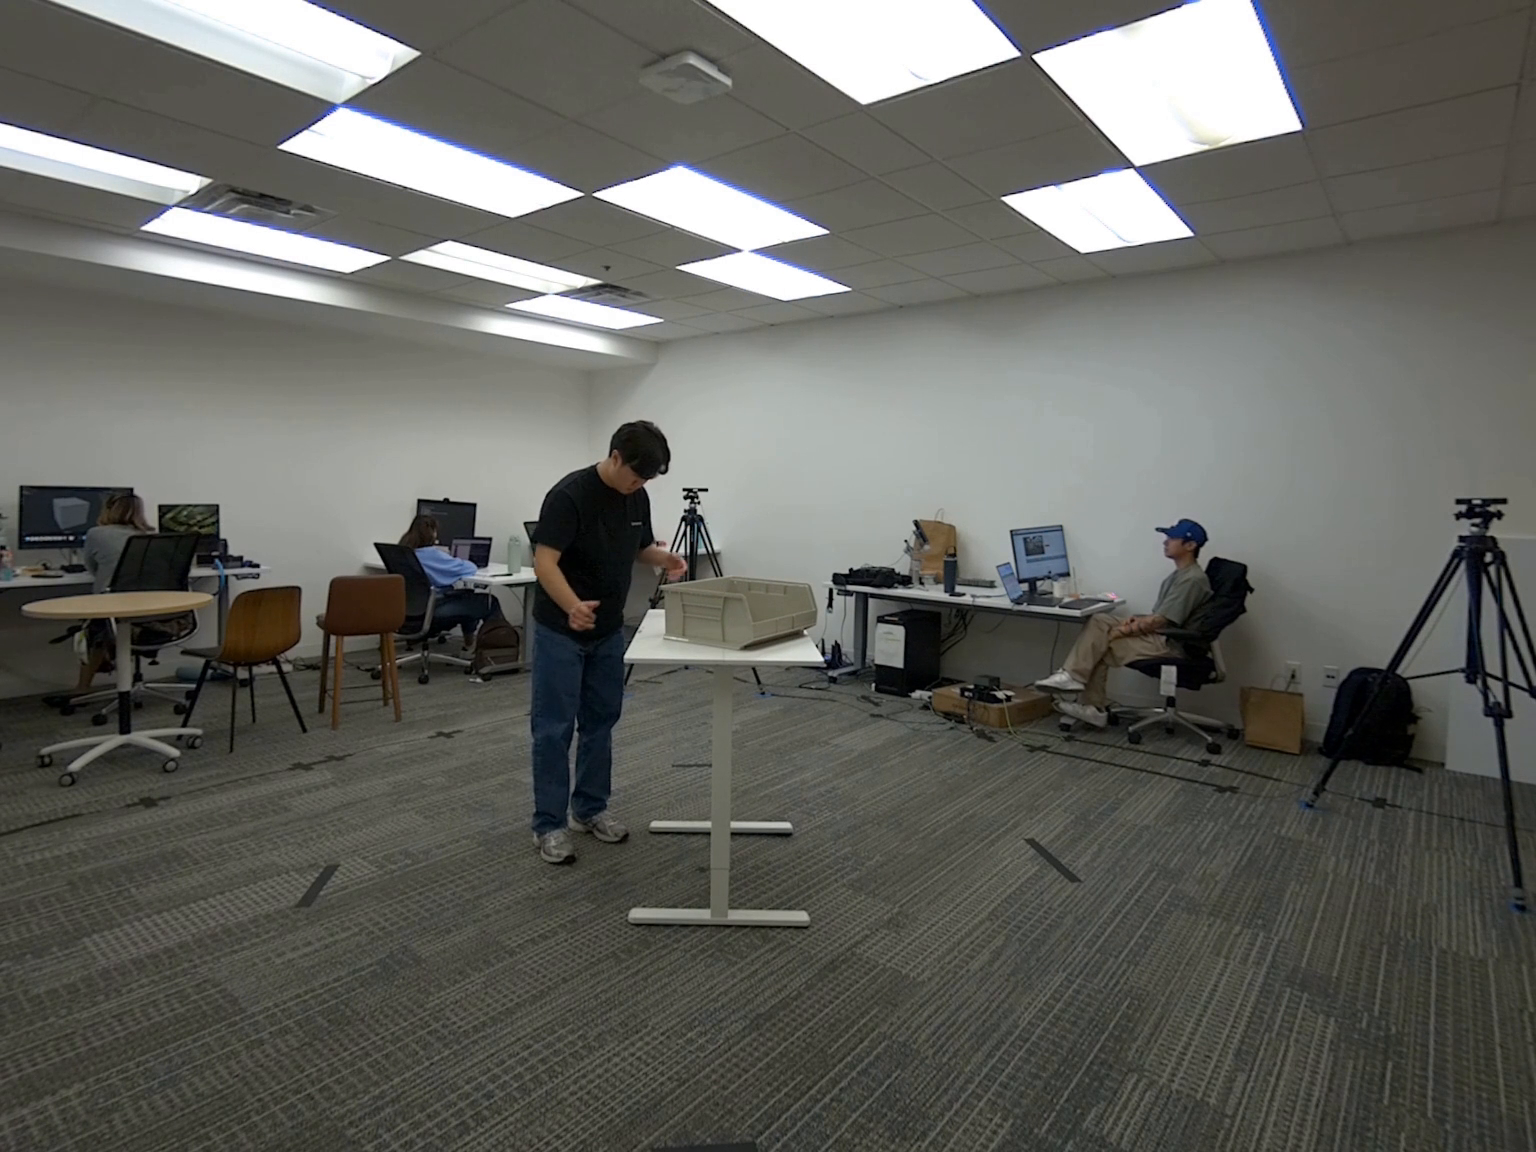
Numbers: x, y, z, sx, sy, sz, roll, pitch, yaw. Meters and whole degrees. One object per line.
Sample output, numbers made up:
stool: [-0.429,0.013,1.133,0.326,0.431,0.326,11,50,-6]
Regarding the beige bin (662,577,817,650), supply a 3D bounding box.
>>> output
beige bin: [-0.102,0.121,2.917,0.389,0.188,0.411,3,6,34]
